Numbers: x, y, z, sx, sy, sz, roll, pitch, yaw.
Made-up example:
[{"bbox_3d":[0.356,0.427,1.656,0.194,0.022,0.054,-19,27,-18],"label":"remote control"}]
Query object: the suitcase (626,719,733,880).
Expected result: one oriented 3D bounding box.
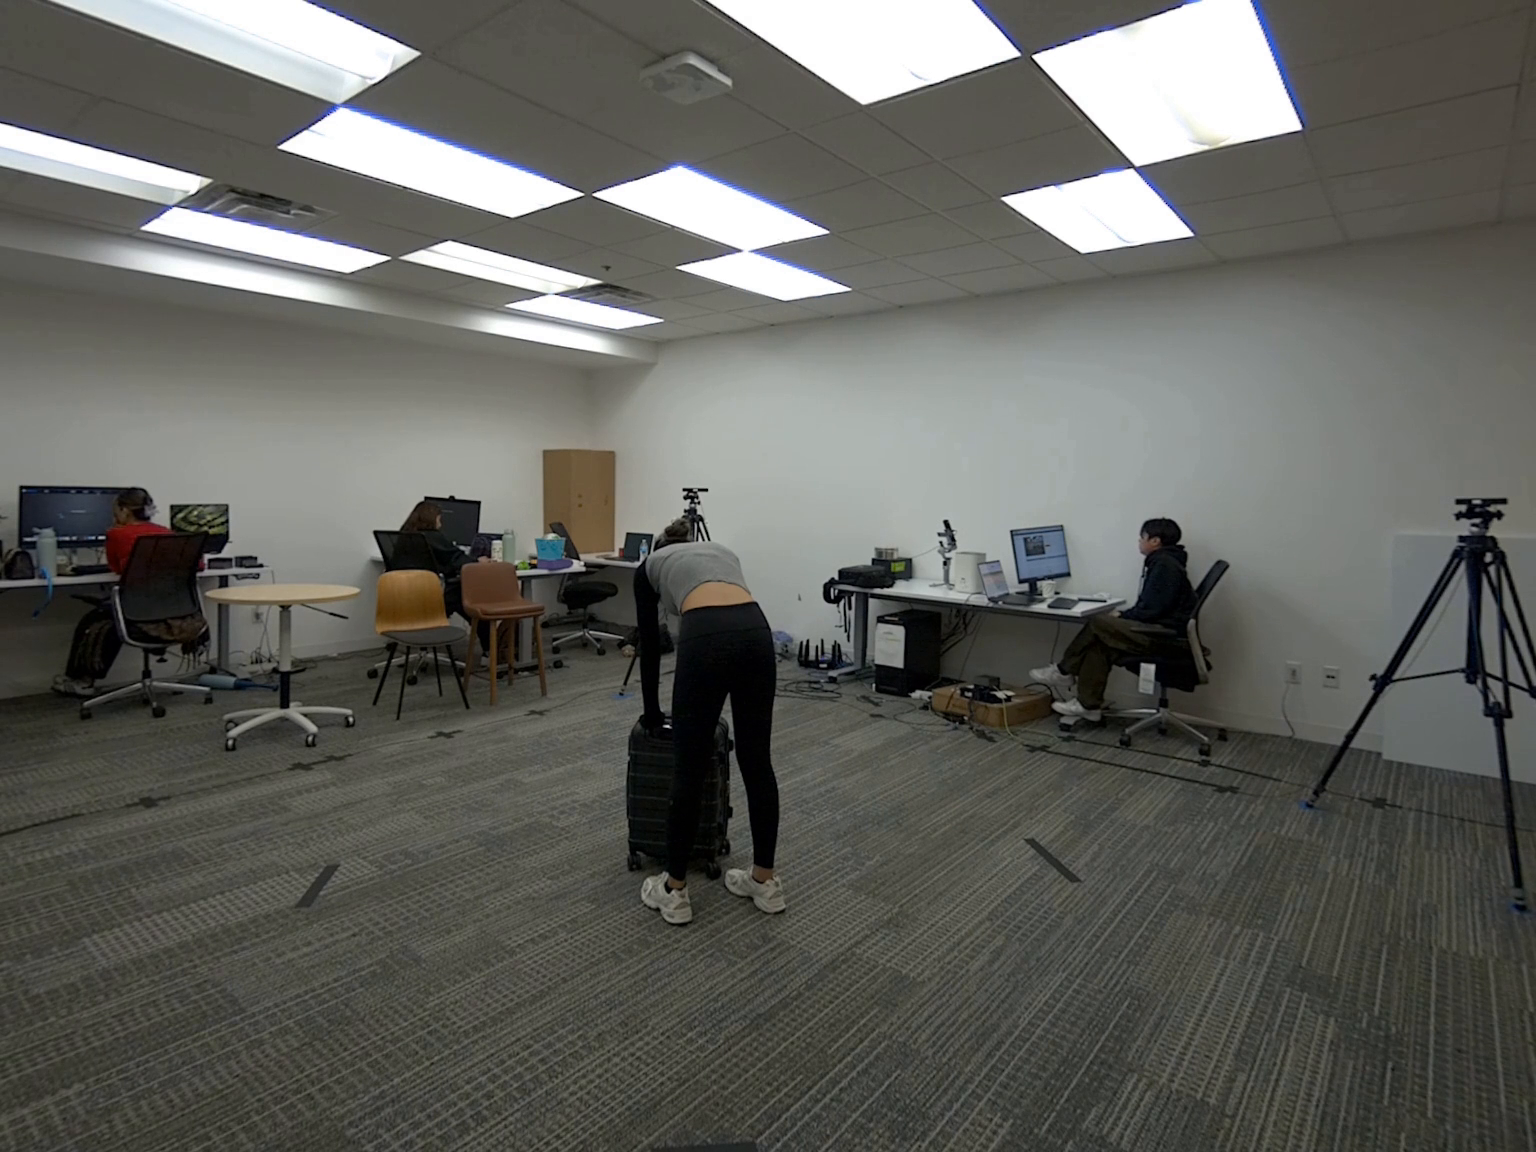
[{"bbox_3d":[-0.344,0.786,3.185,0.381,0.549,0.245,1,1,12],"label":"suitcase"}]
